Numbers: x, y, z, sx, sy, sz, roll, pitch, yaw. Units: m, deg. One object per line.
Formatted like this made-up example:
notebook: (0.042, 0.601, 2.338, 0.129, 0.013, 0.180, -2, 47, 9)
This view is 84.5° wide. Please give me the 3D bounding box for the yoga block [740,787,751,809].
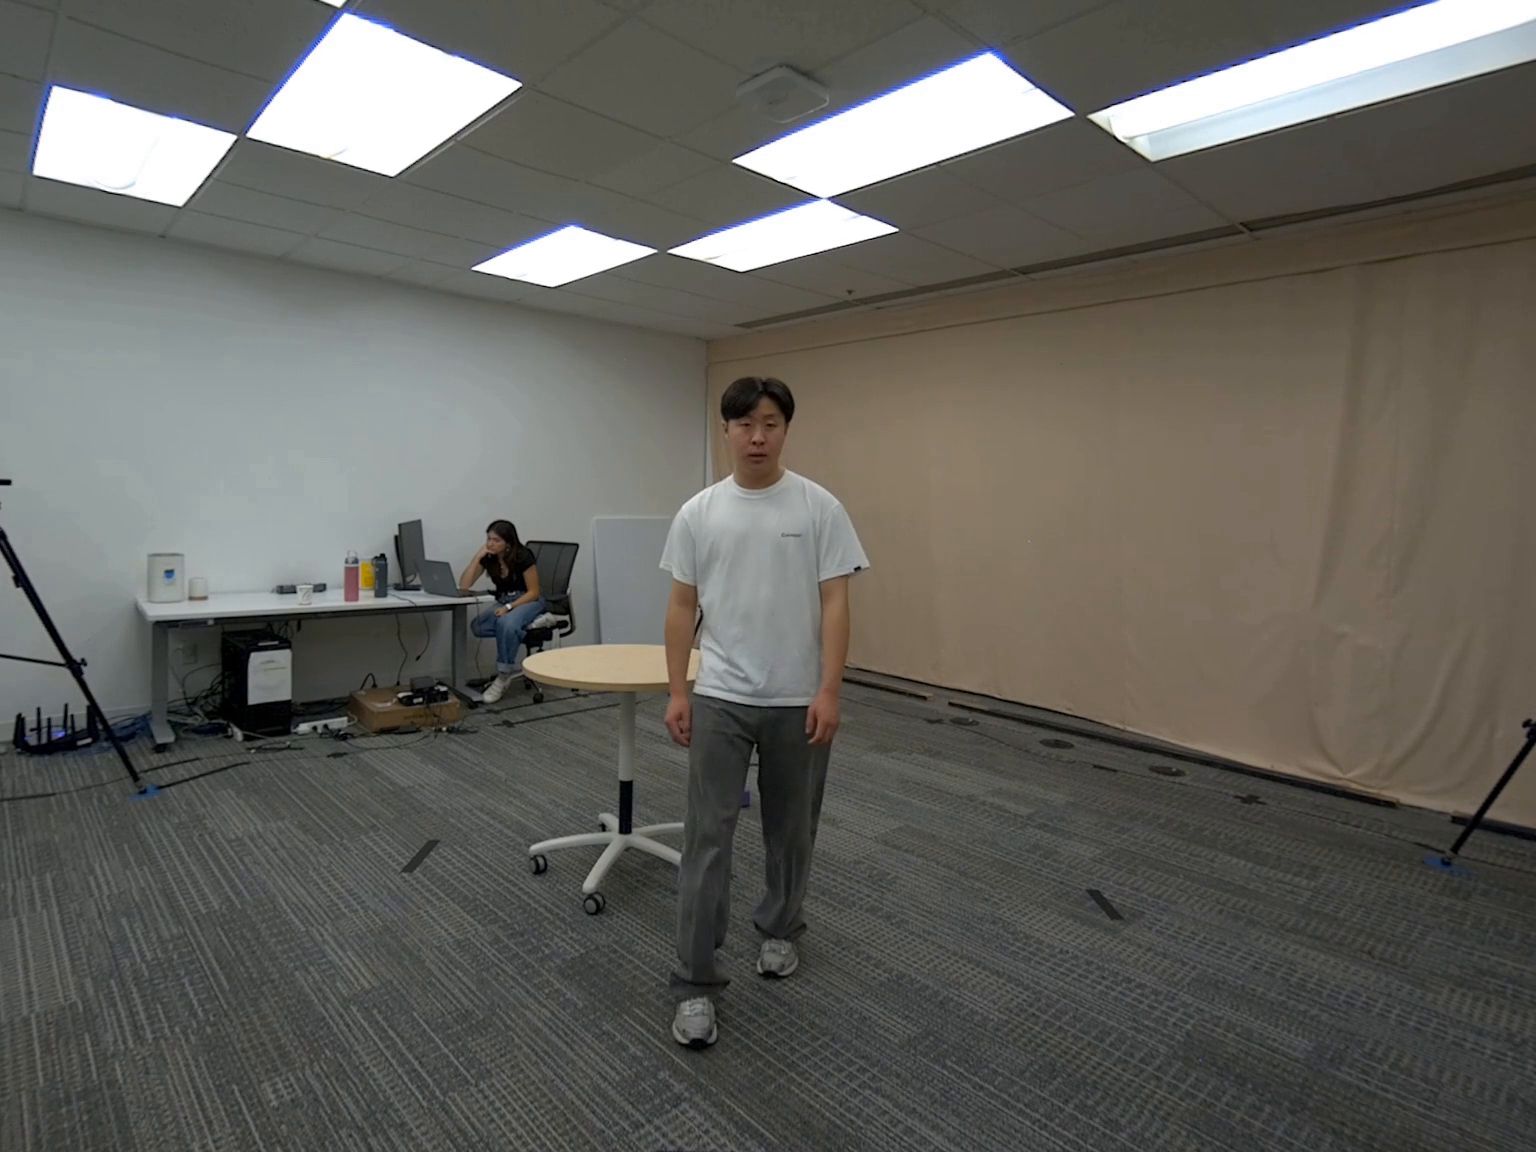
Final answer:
yoga block: (-0.204, 1.009, 3.891, 0.146, 0.076, 0.234, -1, 5, -25)
